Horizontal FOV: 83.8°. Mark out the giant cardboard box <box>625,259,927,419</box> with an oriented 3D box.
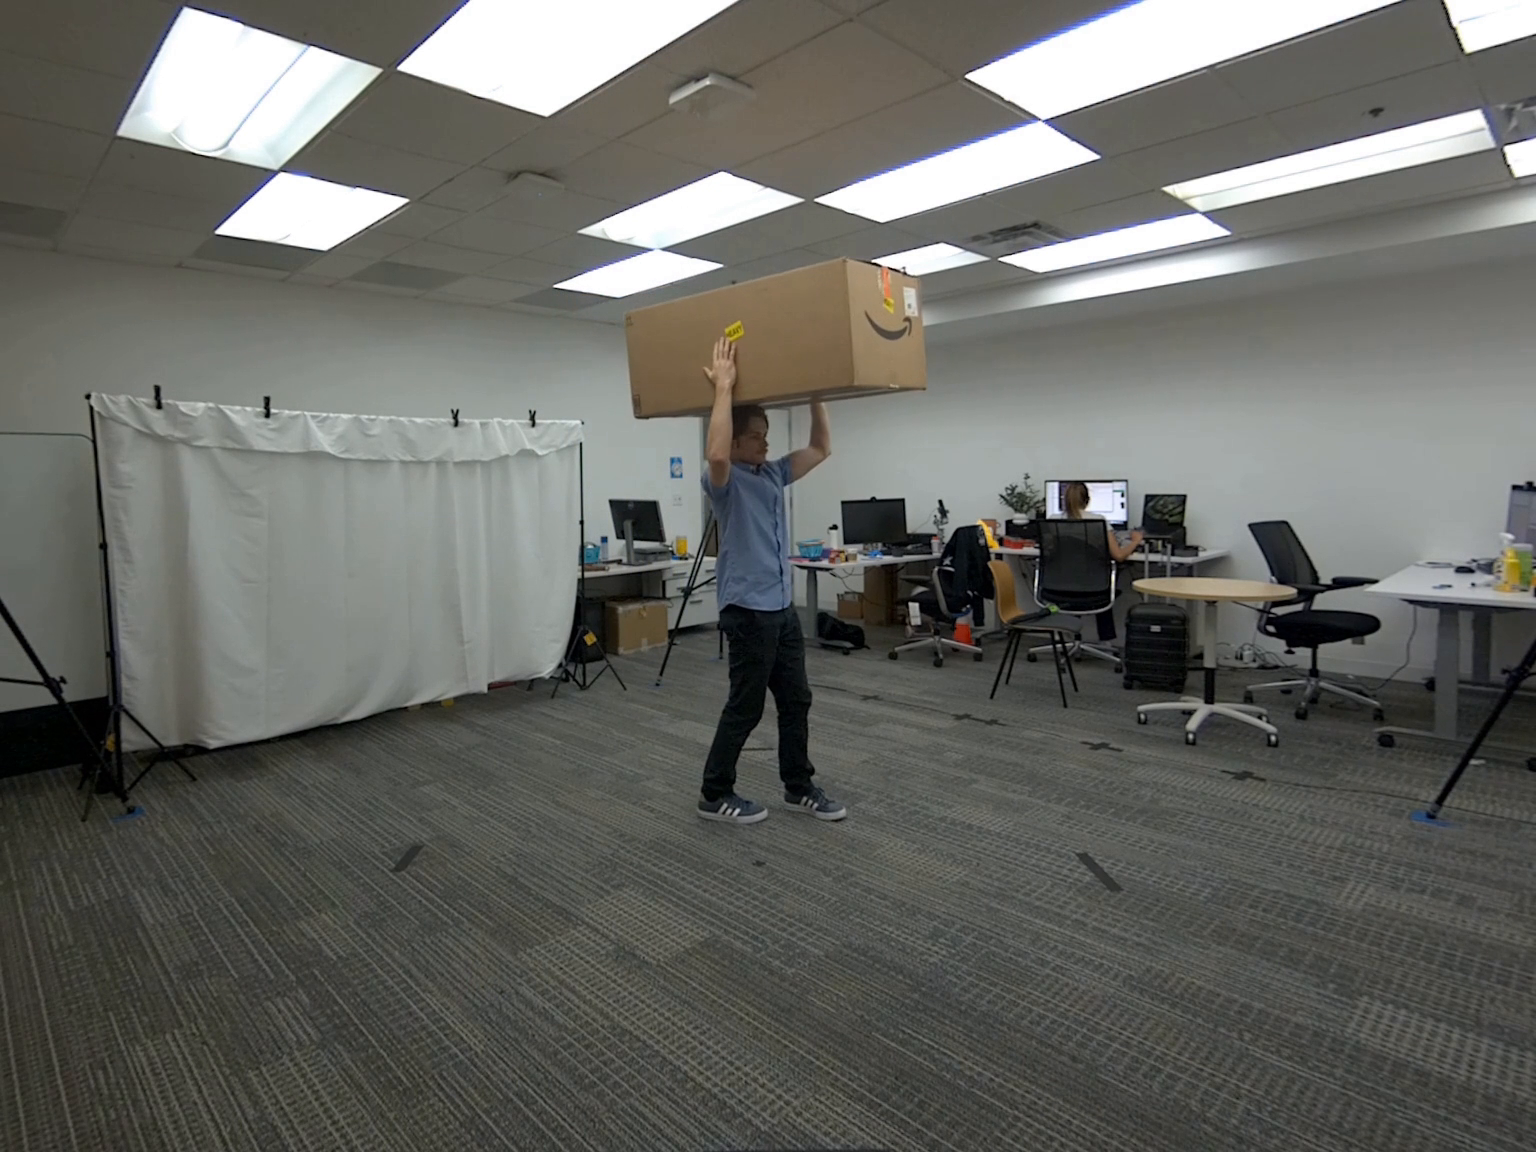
[{"bbox_3d":[0.016,-0.887,3.345,1.055,0.424,0.565,1,9,37],"label":"giant cardboard box"}]
